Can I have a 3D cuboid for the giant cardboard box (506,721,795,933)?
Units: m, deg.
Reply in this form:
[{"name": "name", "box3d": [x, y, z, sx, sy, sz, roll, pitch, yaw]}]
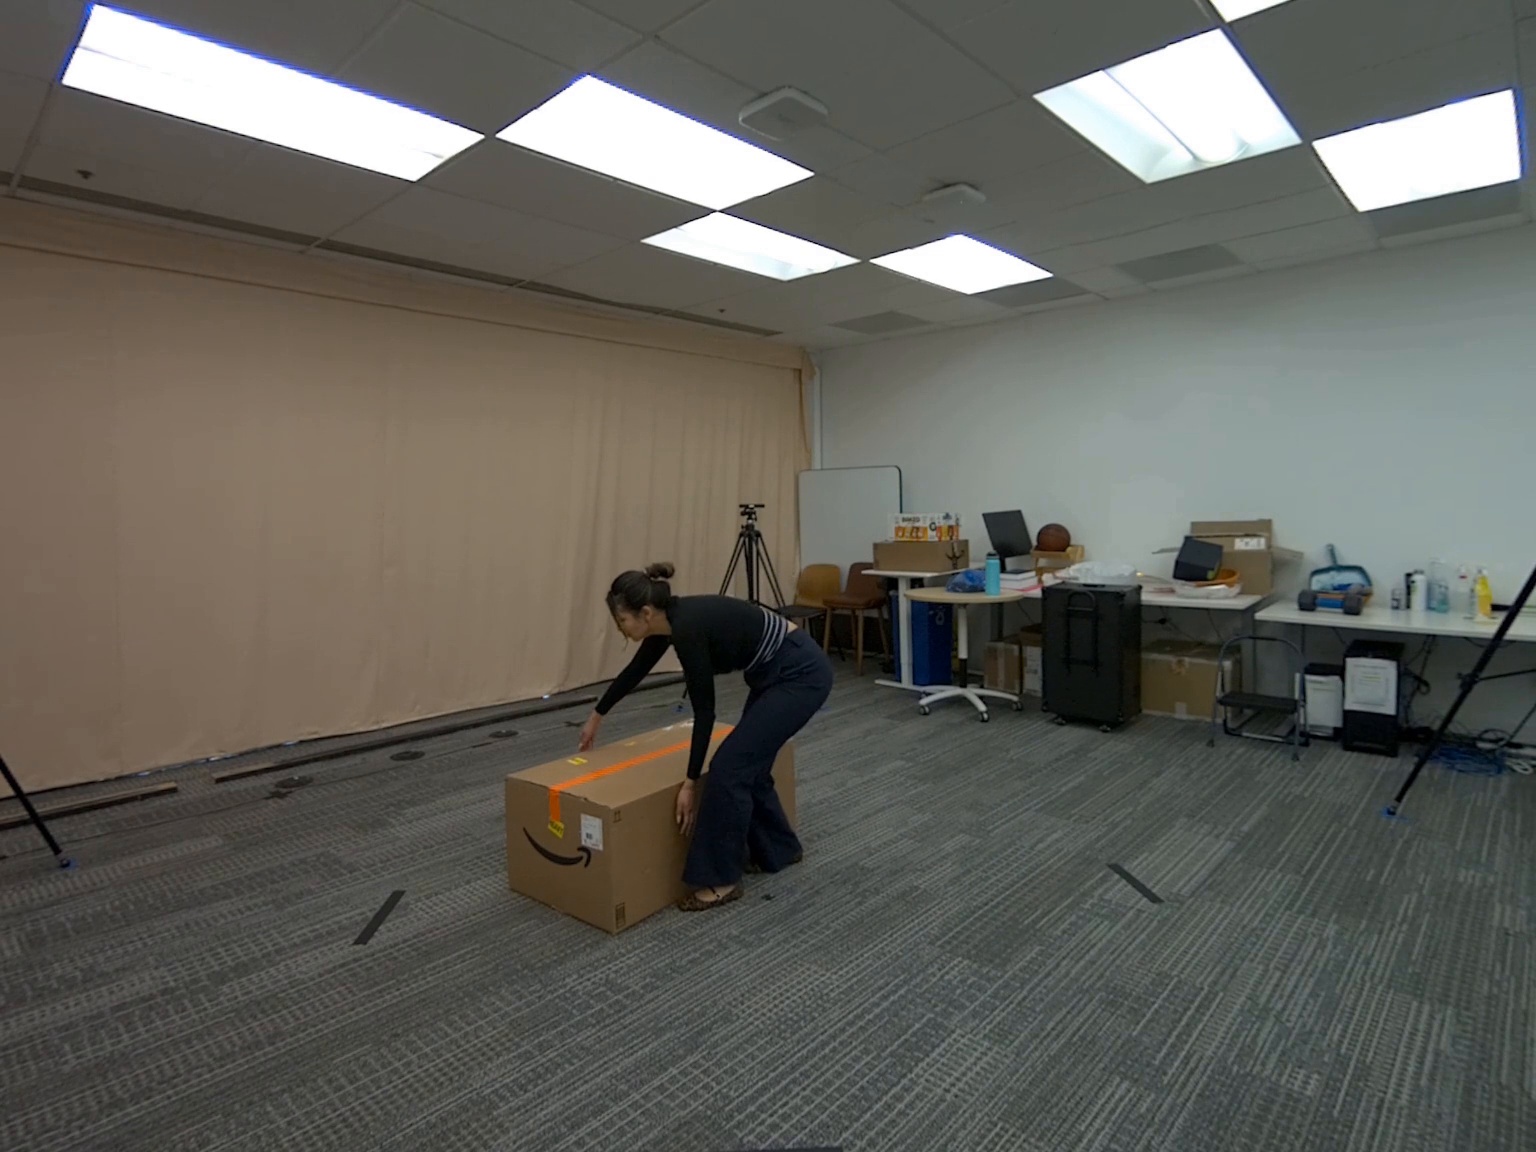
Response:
[{"name": "giant cardboard box", "box3d": [-0.422, 0.907, 3.292, 0.596, 0.425, 0.996, 1, 5, 39]}]
